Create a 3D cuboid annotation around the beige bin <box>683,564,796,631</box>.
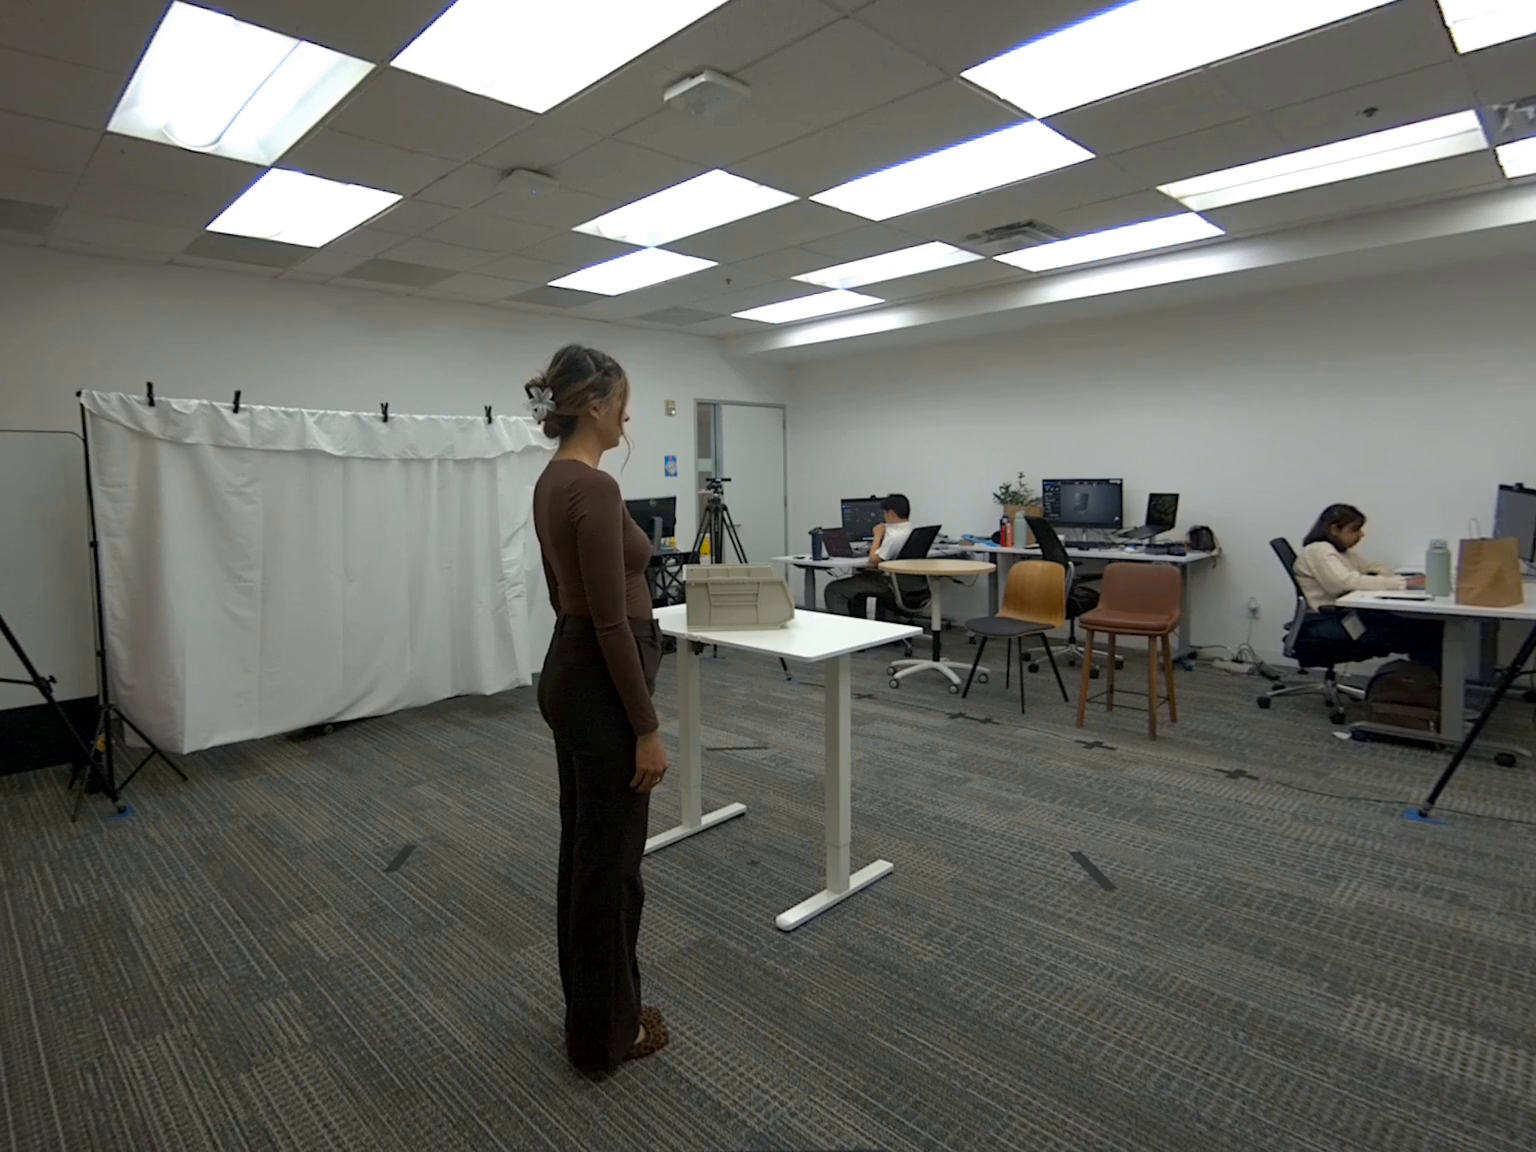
[{"bbox_3d":[-0.113,0.076,3.086,0.376,0.188,0.427,-2,8,-4],"label":"beige bin"}]
